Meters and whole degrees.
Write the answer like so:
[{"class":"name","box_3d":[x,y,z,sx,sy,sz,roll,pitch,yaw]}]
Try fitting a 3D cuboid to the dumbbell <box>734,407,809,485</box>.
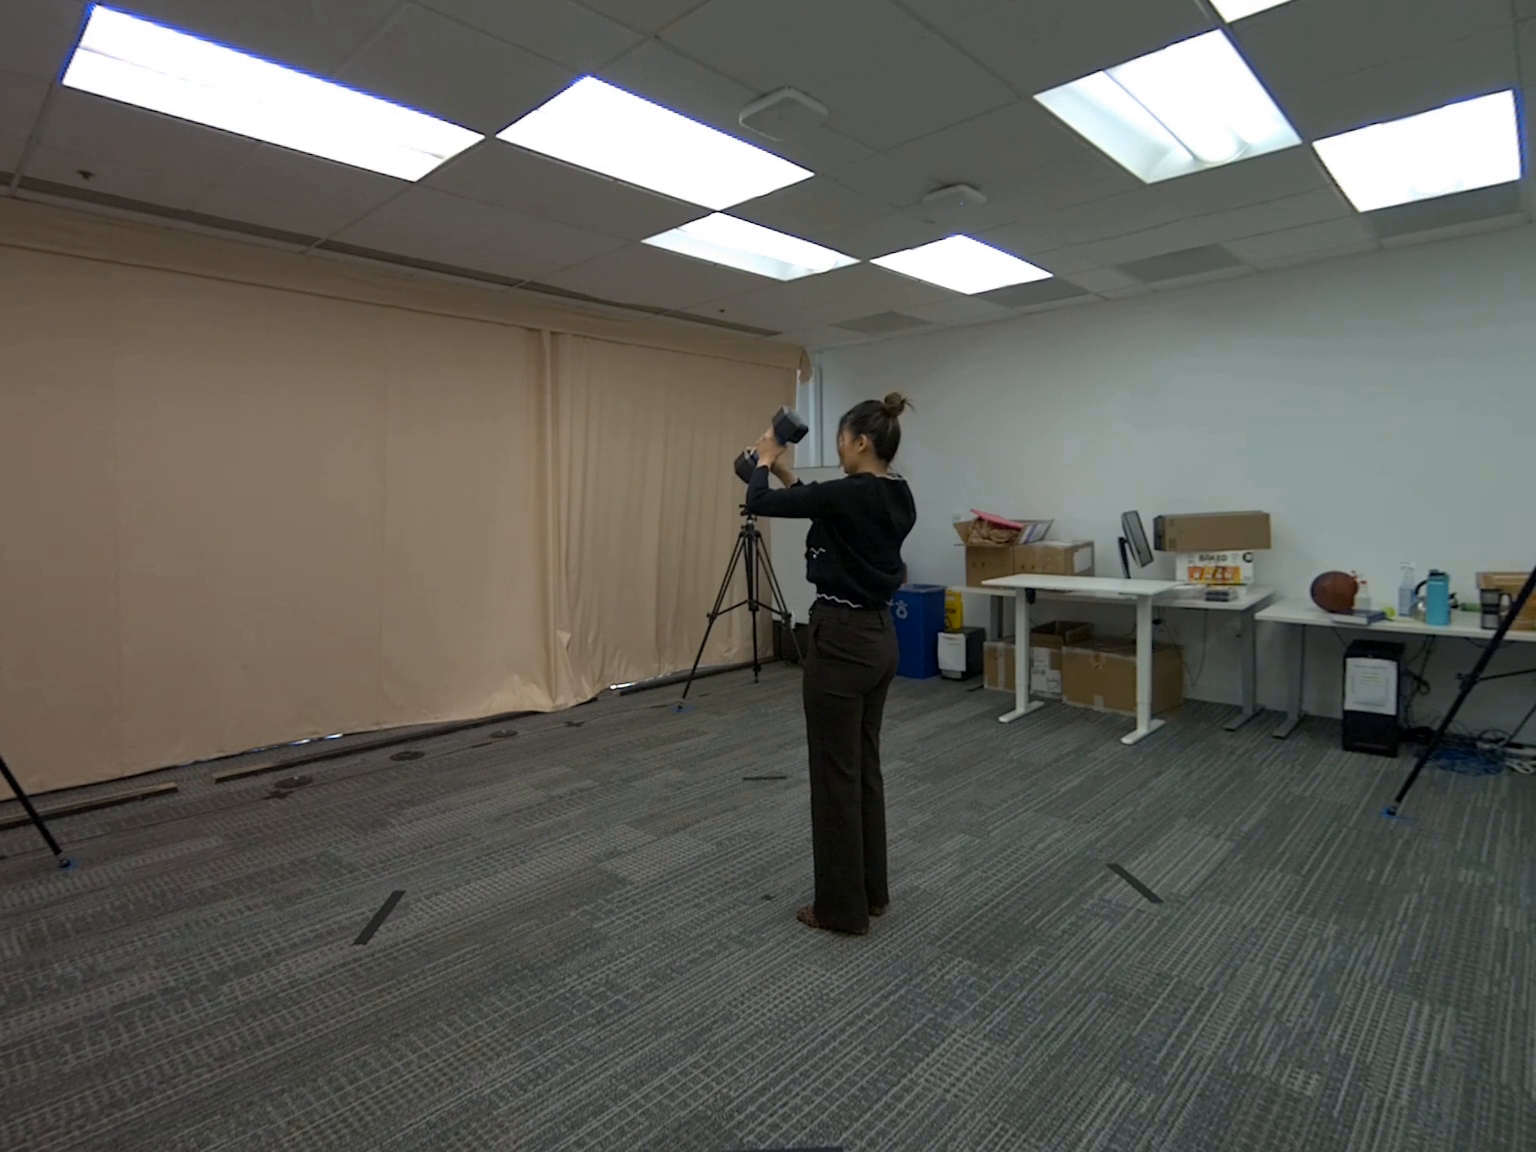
[{"class":"dumbbell","box_3d":[0.016,-0.449,2.907,0.106,0.296,0.125,31,30,-26]}]
